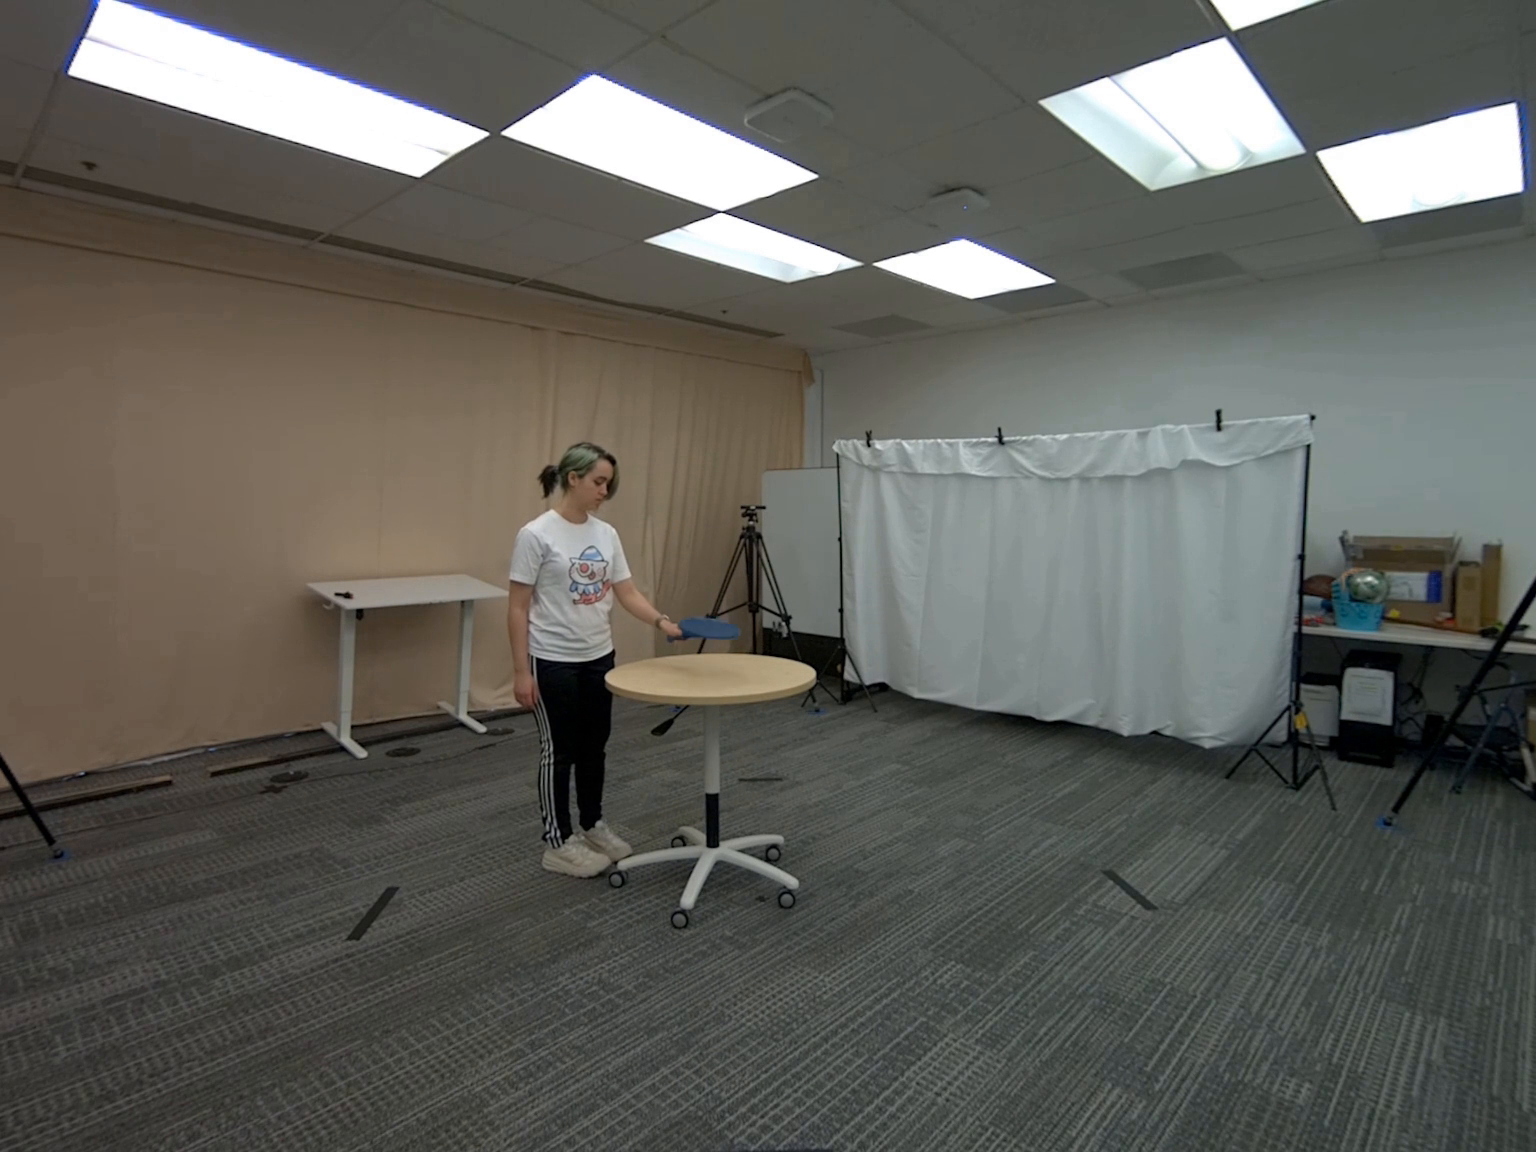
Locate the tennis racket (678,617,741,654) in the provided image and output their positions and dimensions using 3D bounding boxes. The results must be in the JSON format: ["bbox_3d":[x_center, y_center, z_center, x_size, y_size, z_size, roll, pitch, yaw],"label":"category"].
[{"bbox_3d":[-0.278,0.203,3.027,0.207,0.032,0.444,27,-25,-34],"label":"tennis racket"}]
